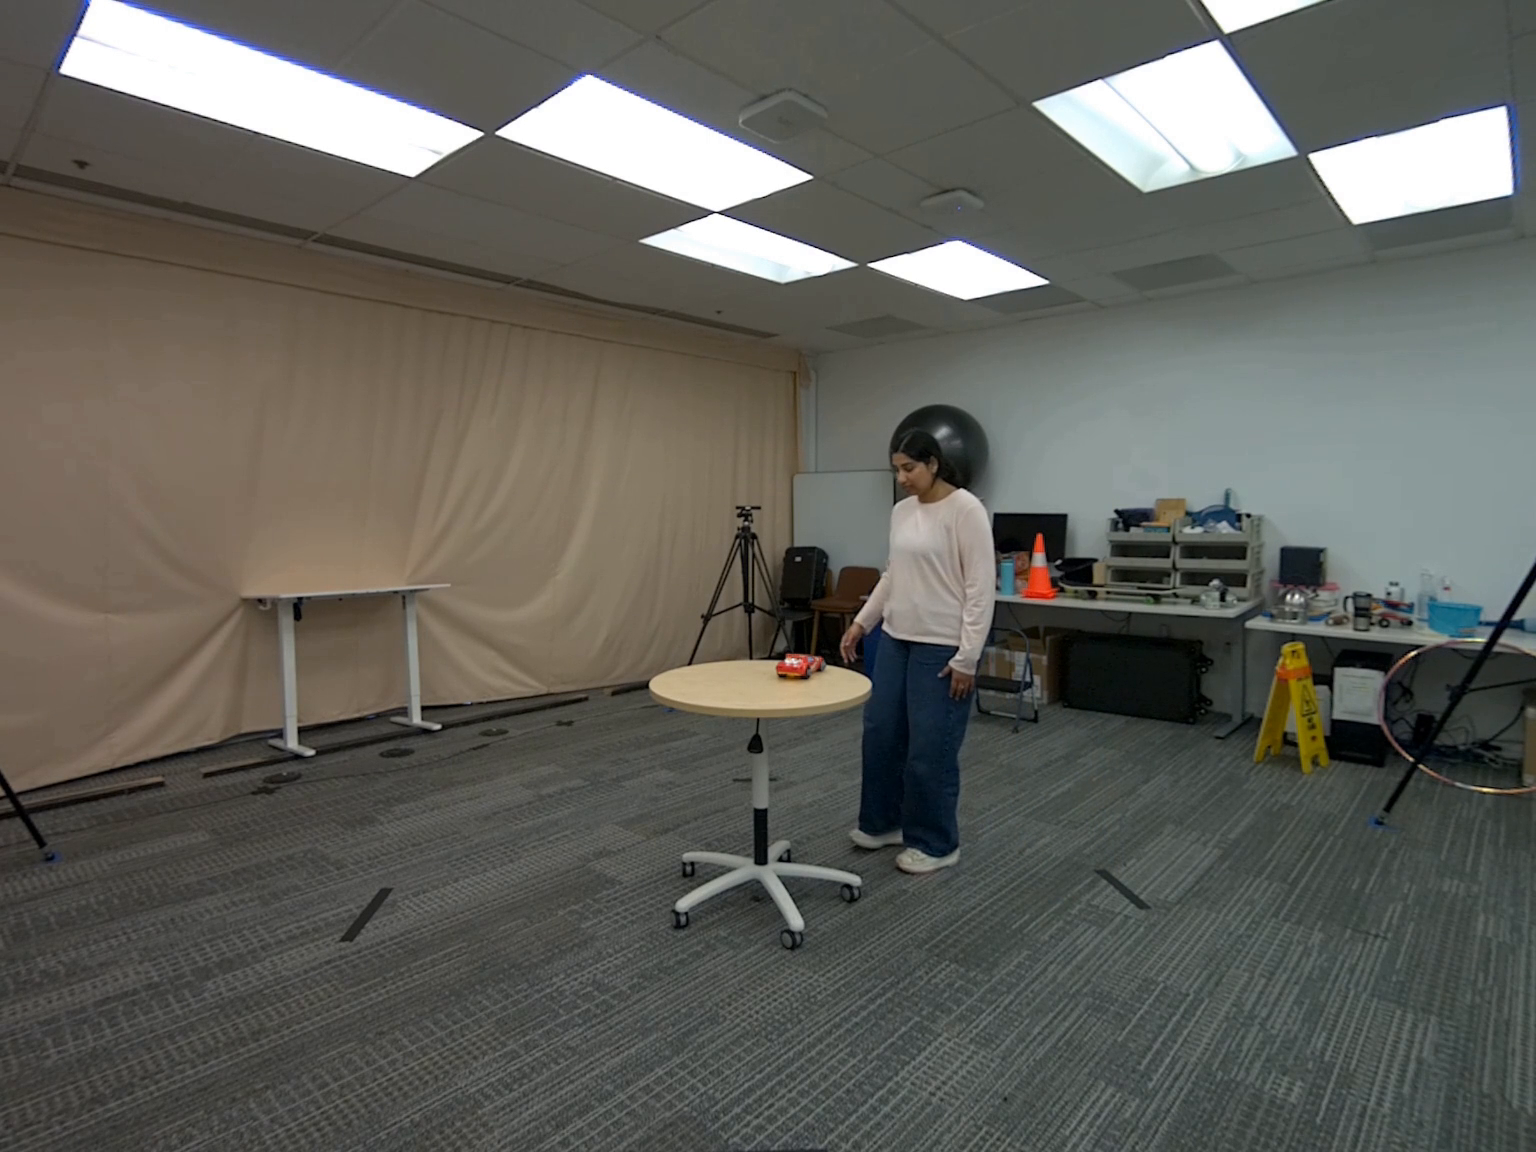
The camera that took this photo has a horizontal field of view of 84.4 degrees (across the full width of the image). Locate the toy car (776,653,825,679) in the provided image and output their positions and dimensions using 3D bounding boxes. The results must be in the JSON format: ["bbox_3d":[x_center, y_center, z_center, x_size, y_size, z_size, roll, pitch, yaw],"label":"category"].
[{"bbox_3d":[0.110,0.328,3.009,0.133,0.083,0.247,1,-7,24],"label":"toy car"}]
